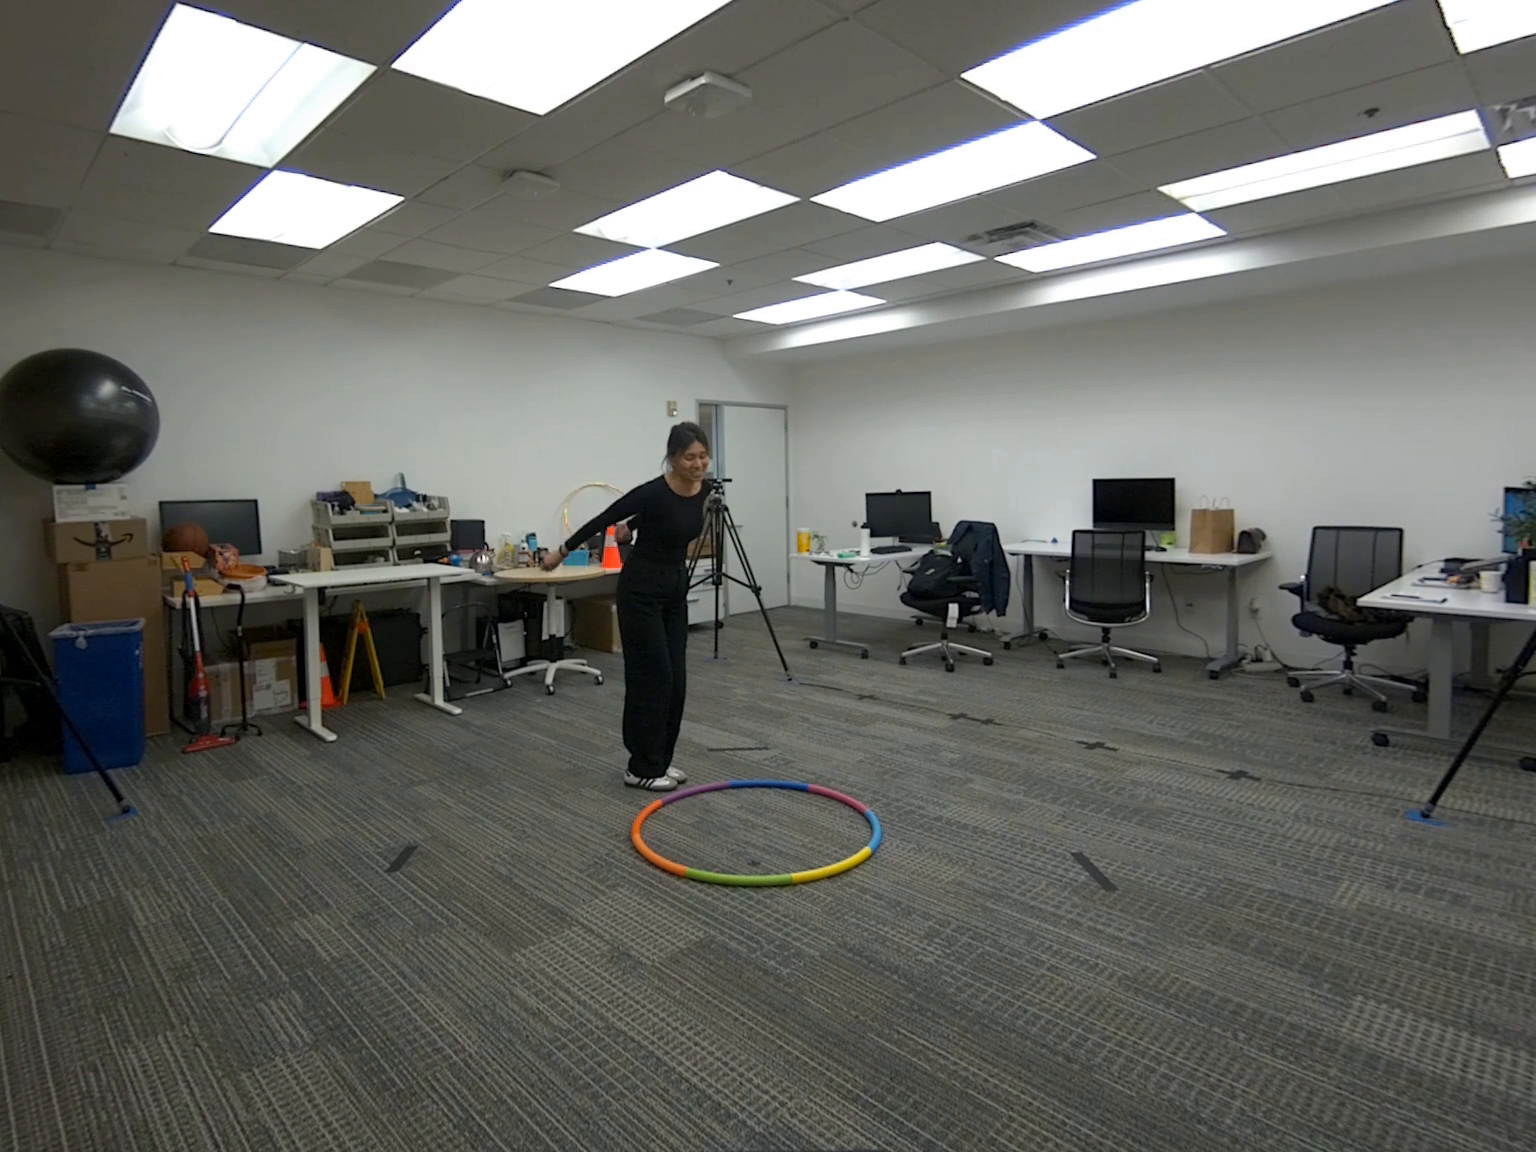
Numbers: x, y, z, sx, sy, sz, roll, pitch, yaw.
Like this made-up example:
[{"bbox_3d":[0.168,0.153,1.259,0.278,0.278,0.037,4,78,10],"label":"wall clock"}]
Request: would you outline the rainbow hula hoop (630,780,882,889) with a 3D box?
[{"bbox_3d":[-0.048,0.983,3.403,0.978,0.035,0.984,-1,7,-2],"label":"rainbow hula hoop"}]
